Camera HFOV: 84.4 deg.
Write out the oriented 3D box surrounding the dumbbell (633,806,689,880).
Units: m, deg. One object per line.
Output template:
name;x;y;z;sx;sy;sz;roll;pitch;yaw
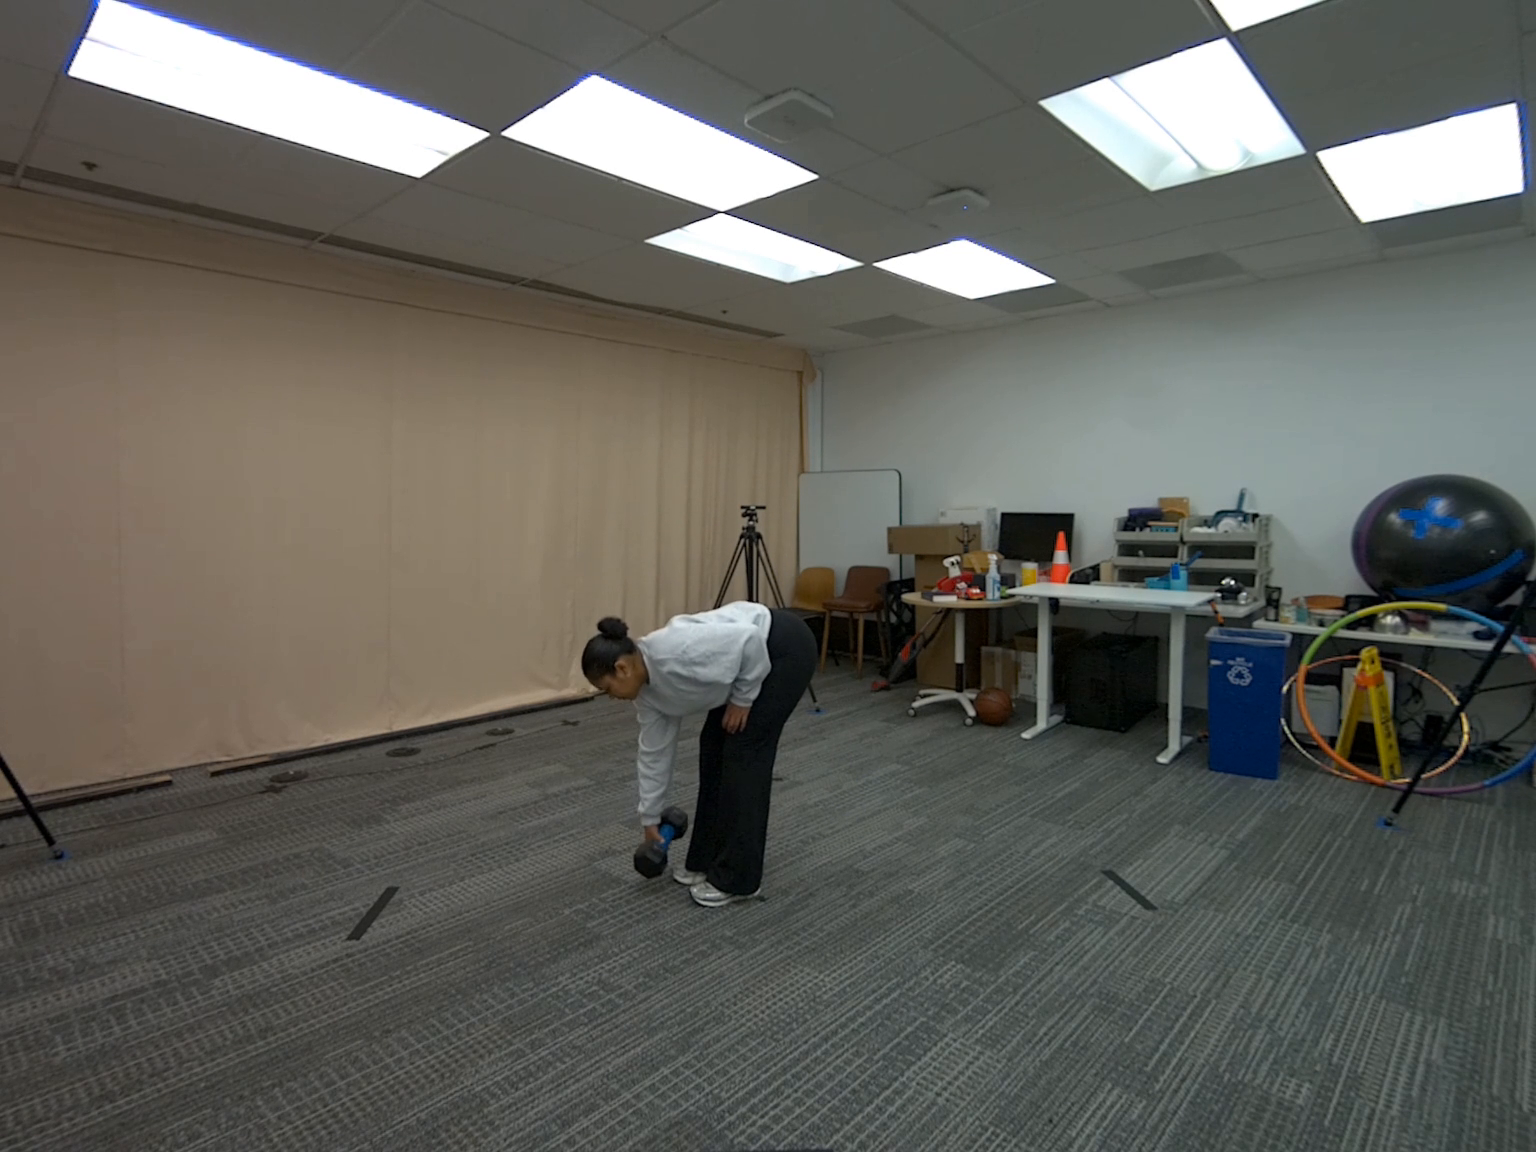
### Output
dumbbell;-0.386;0.971;3.112;0.111;0.121;0.291;6;20;15
